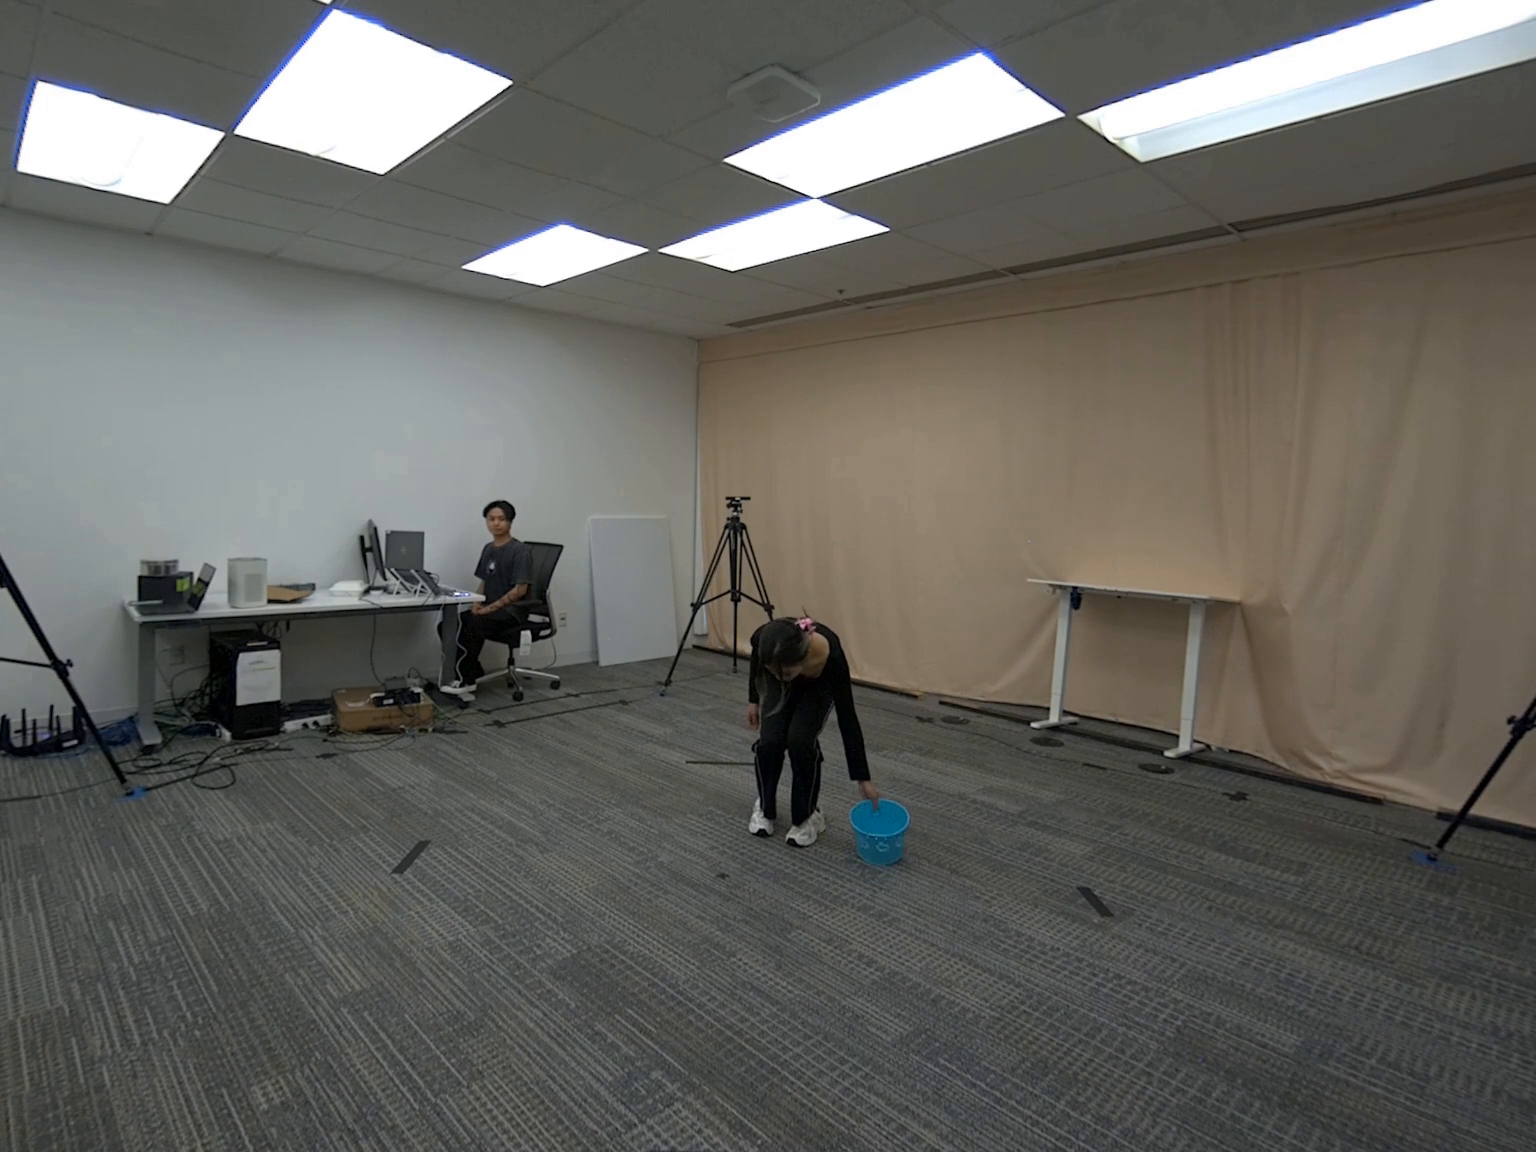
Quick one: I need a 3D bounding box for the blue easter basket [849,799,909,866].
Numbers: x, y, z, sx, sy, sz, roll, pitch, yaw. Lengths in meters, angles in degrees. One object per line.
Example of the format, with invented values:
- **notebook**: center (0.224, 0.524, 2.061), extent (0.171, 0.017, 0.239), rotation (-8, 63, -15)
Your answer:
- **blue easter basket**: center (0.430, 1.010, 3.279), extent (0.244, 0.154, 0.247), rotation (-4, 19, 0)
